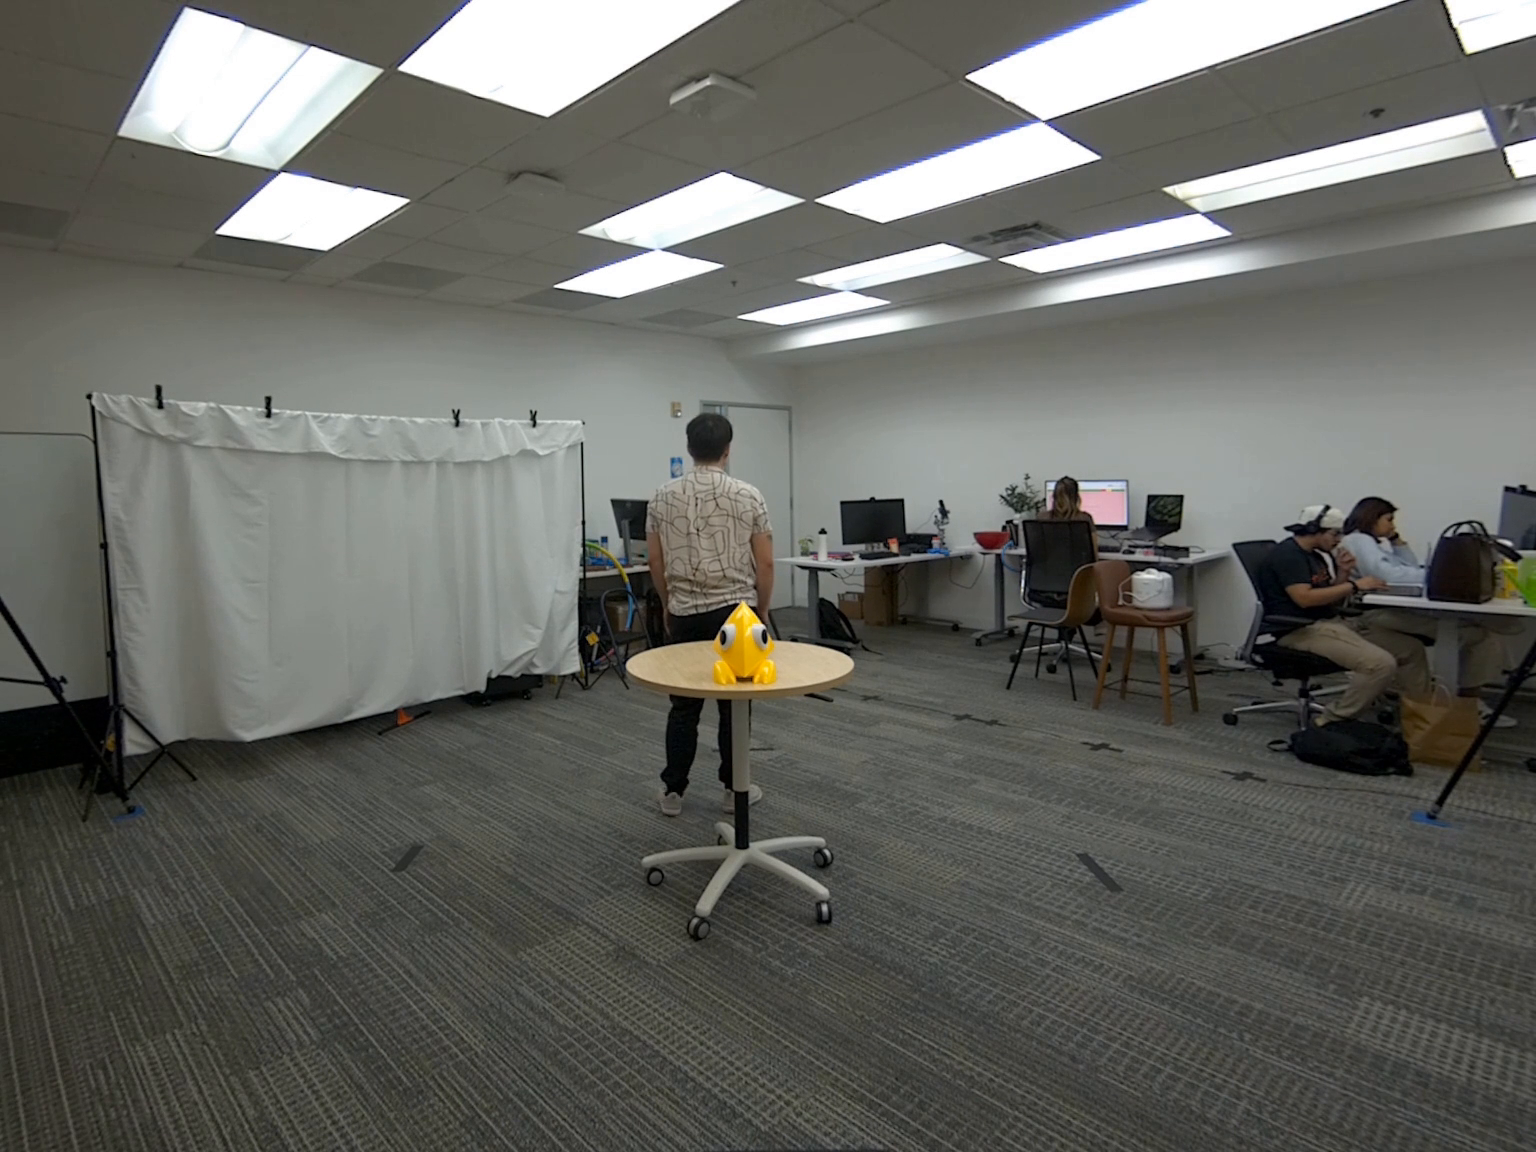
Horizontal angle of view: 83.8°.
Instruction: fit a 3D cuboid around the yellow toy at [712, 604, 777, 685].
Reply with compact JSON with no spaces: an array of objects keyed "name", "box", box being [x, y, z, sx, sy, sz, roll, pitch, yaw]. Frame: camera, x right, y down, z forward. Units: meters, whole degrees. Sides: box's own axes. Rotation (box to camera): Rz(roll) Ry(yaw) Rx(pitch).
[{"name":"yellow toy","box":[-0.077,0.204,2.656,0.205,0.230,0.194,0,5,-1]}]
